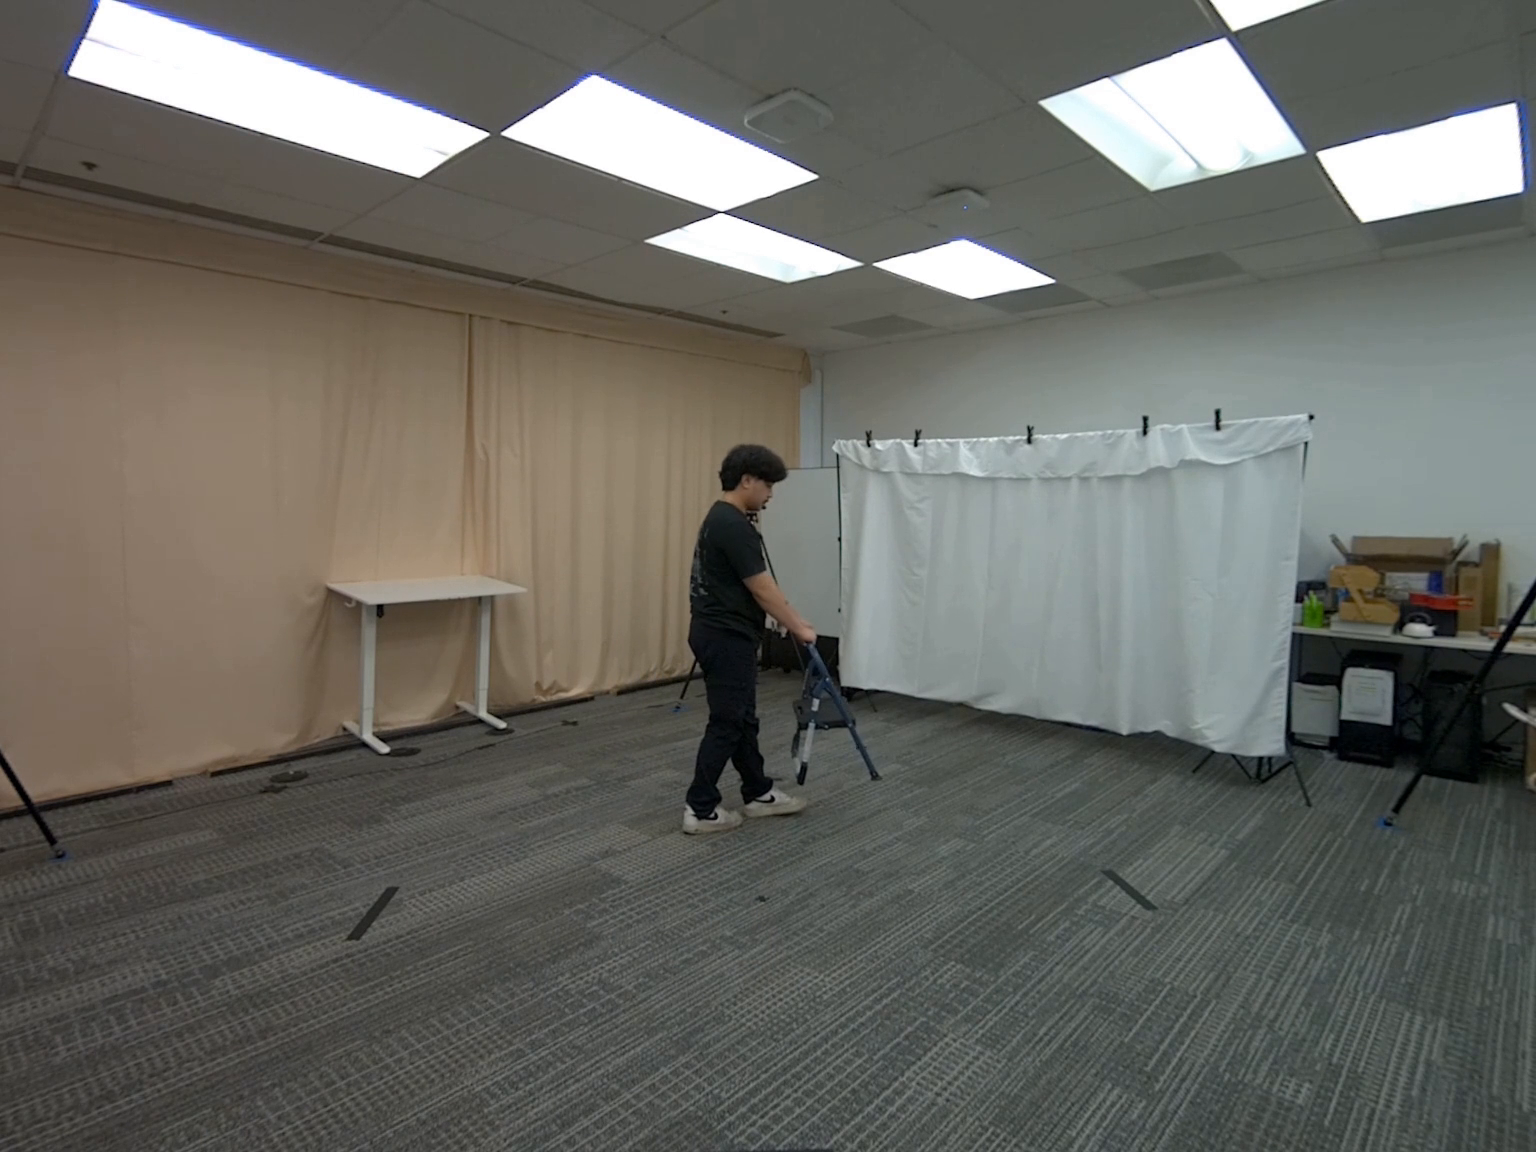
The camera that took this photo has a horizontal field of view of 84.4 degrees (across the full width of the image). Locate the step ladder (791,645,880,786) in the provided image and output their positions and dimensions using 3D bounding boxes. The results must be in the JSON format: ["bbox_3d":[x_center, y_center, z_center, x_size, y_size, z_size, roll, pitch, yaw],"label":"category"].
[{"bbox_3d":[0.260,0.542,3.691,0.349,0.603,0.433,-6,6,-2],"label":"step ladder"}]
